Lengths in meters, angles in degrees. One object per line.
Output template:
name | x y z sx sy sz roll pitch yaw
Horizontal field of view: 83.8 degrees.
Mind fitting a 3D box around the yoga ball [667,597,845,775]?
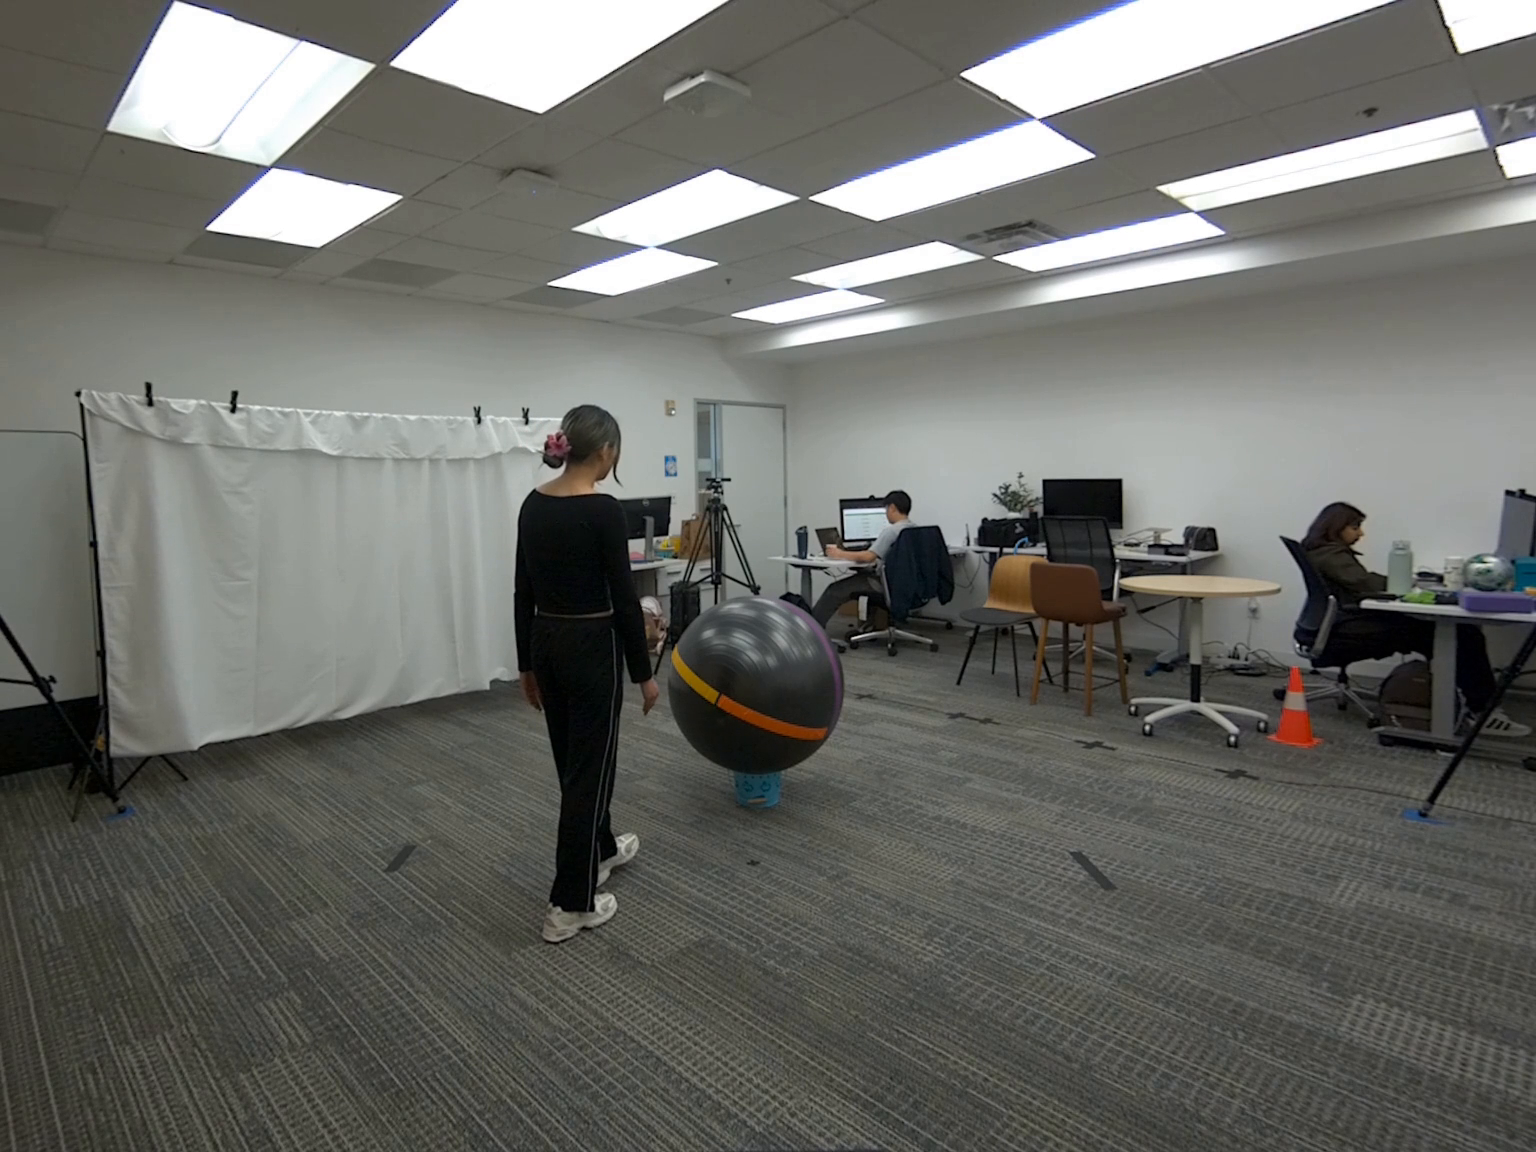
yoga ball | -0.052 0.467 3.689 0.757 0.755 0.762 -1 5 -2
